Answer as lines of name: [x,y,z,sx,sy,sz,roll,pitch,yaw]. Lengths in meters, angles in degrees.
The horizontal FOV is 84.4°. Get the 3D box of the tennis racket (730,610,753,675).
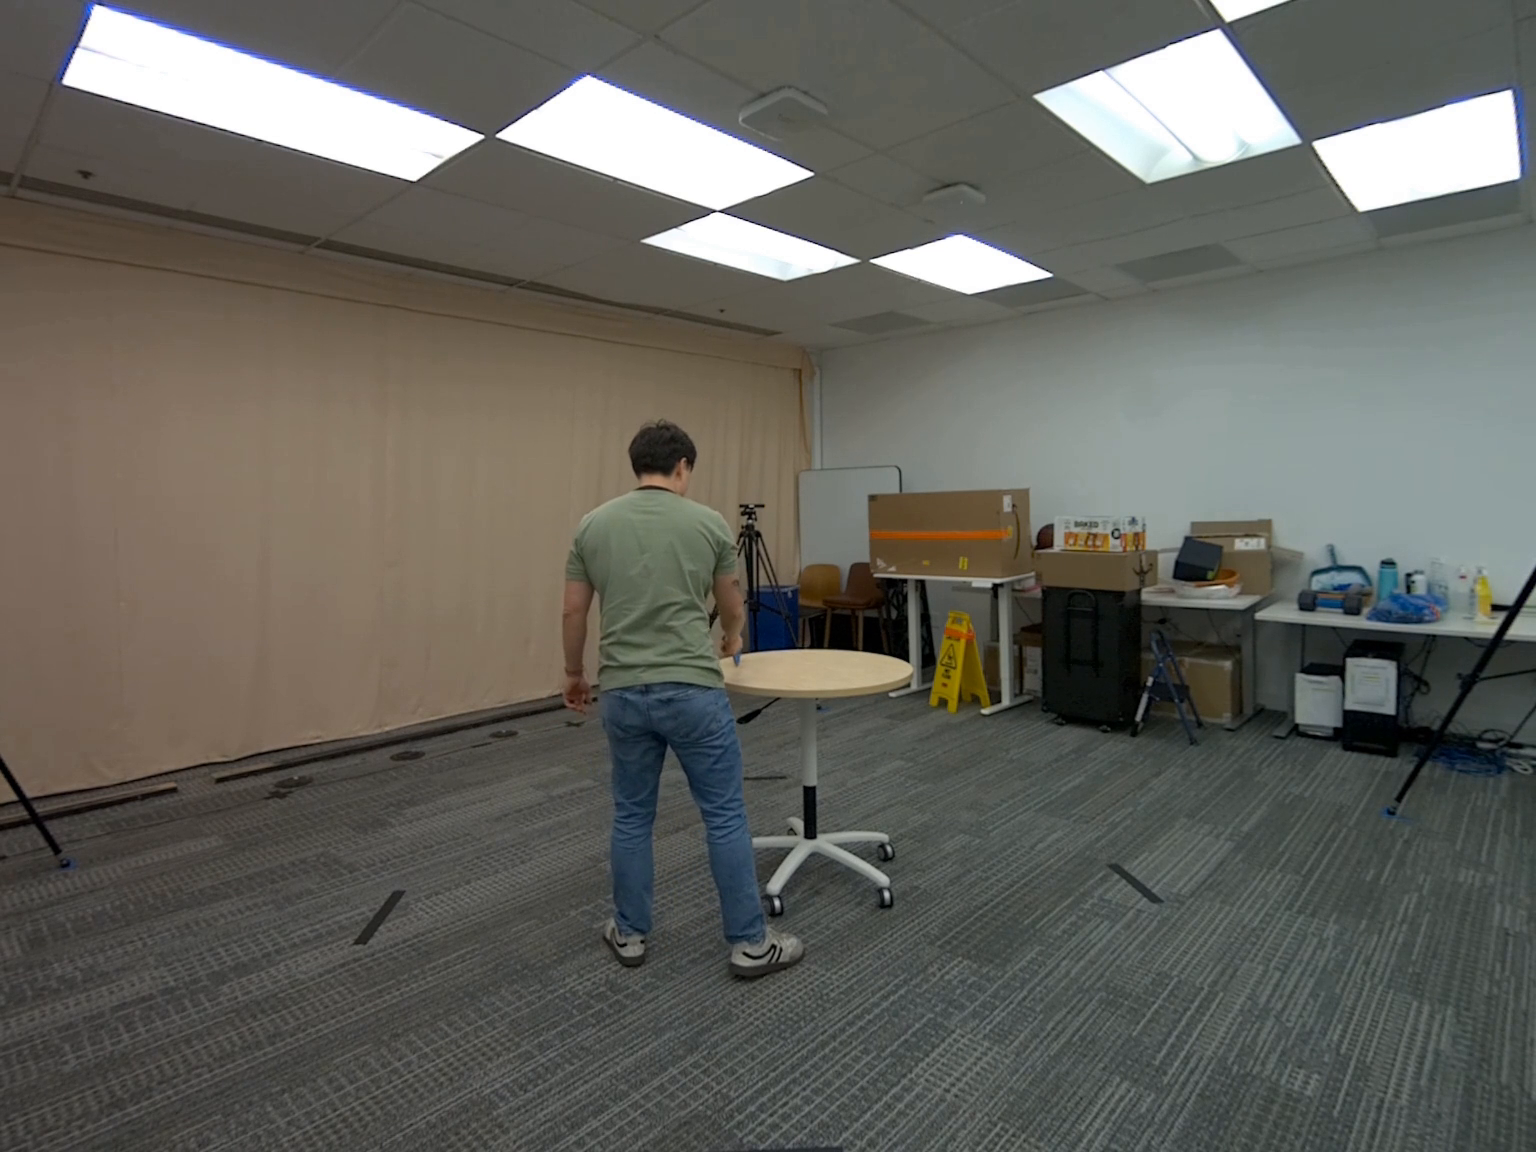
tennis racket: [-0.106,0.237,3.123,0.032,0.214,0.429,-7,-3,4]
